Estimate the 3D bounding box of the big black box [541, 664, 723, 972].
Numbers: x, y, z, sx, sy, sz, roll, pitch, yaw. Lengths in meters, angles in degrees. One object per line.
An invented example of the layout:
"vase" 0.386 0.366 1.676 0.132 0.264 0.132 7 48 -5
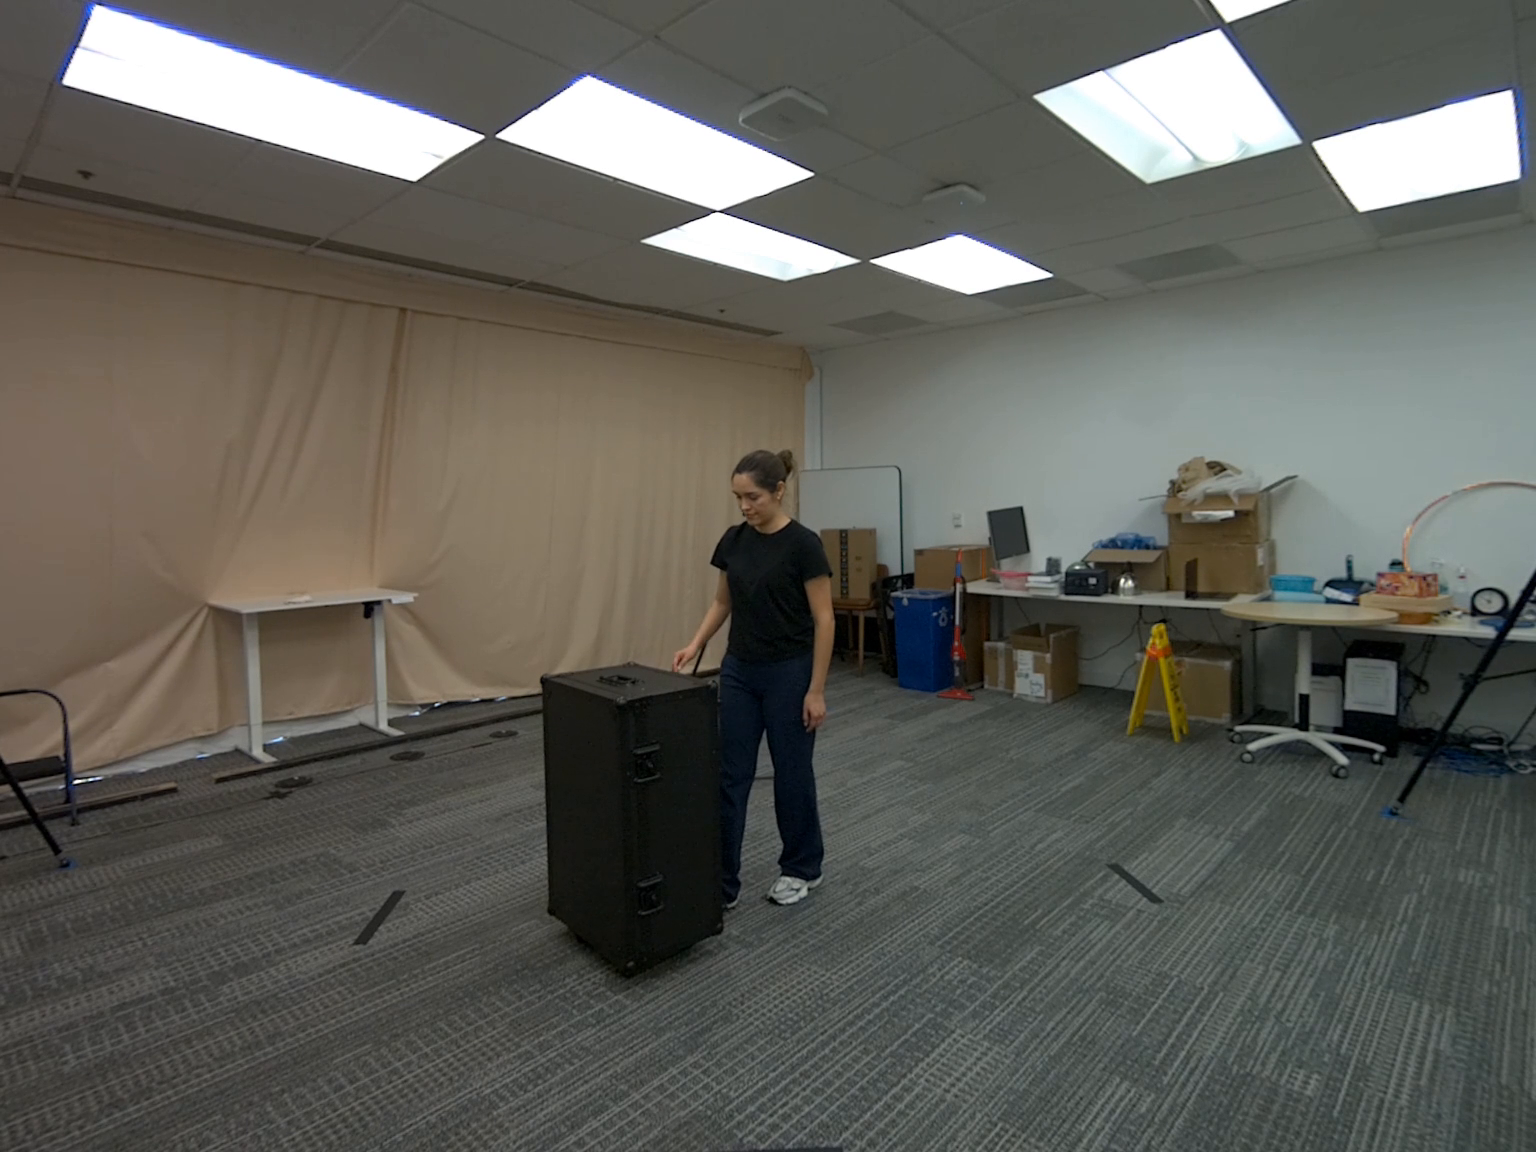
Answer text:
"big black box" -0.411 0.691 2.667 0.384 0.860 0.538 -3 3 -40
